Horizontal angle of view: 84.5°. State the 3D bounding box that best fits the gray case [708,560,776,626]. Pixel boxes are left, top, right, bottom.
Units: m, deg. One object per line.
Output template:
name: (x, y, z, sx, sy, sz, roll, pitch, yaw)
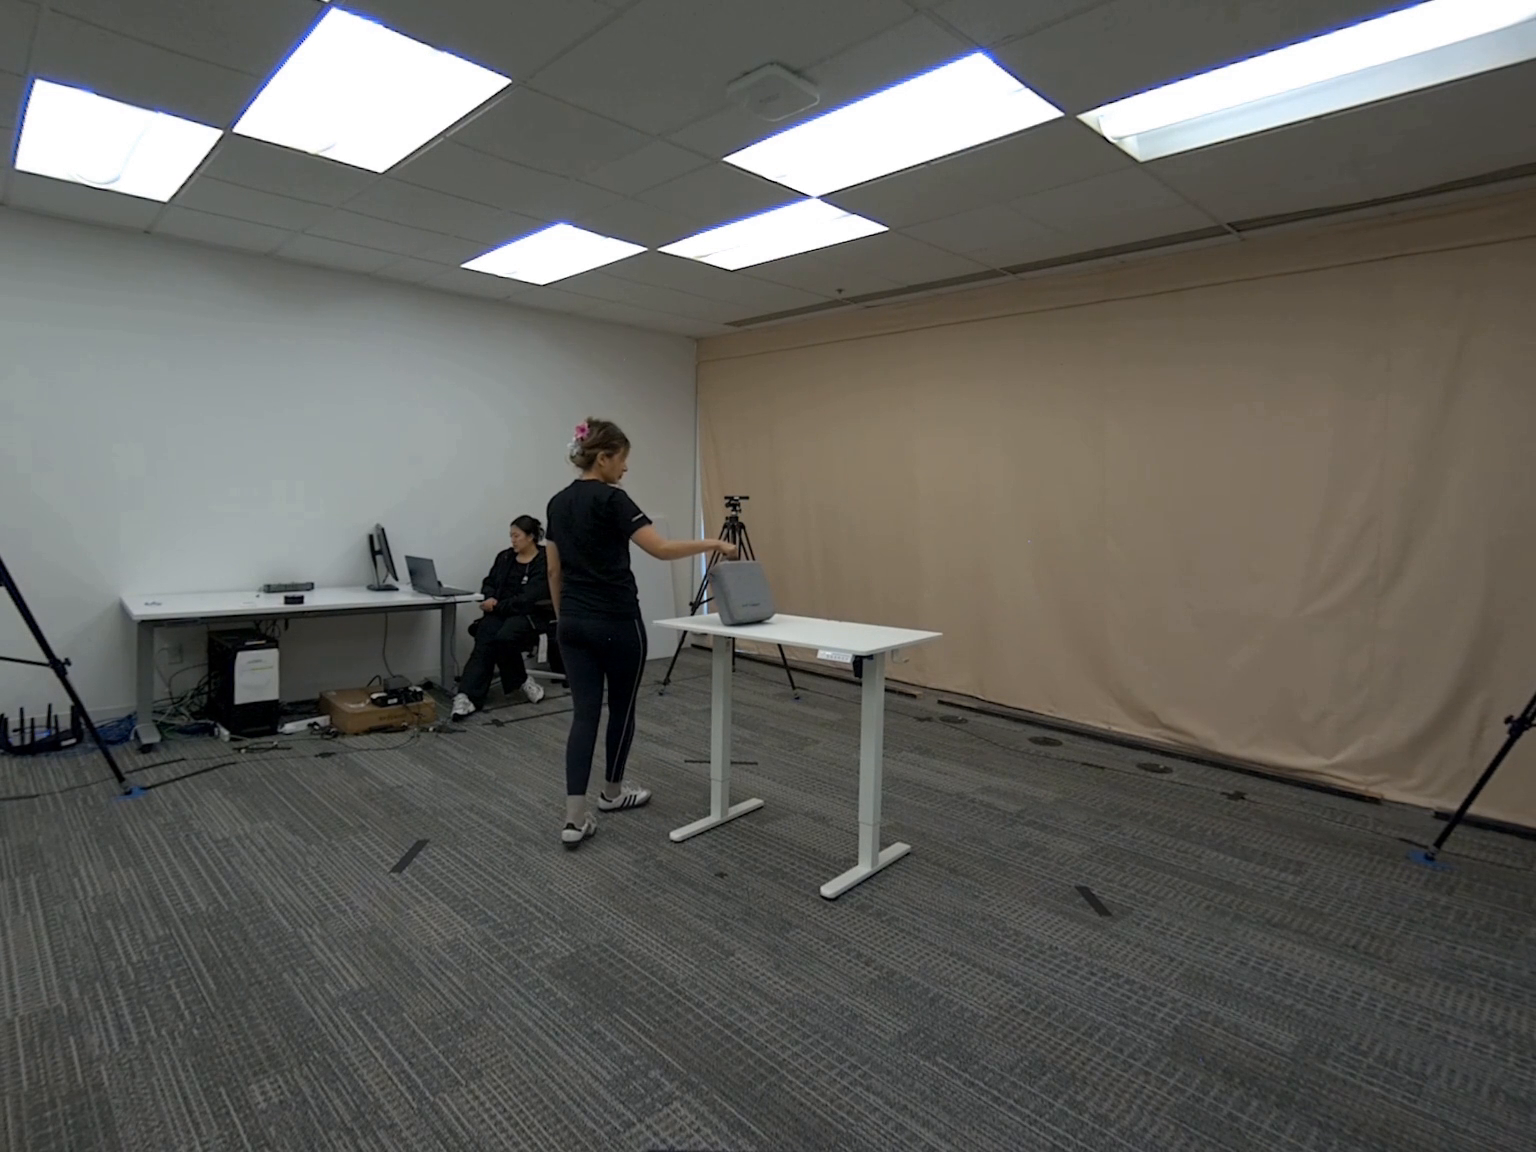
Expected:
gray case: (-0.114, 0.061, 3.429, 0.251, 0.264, 0.105, -3, -20, -45)
